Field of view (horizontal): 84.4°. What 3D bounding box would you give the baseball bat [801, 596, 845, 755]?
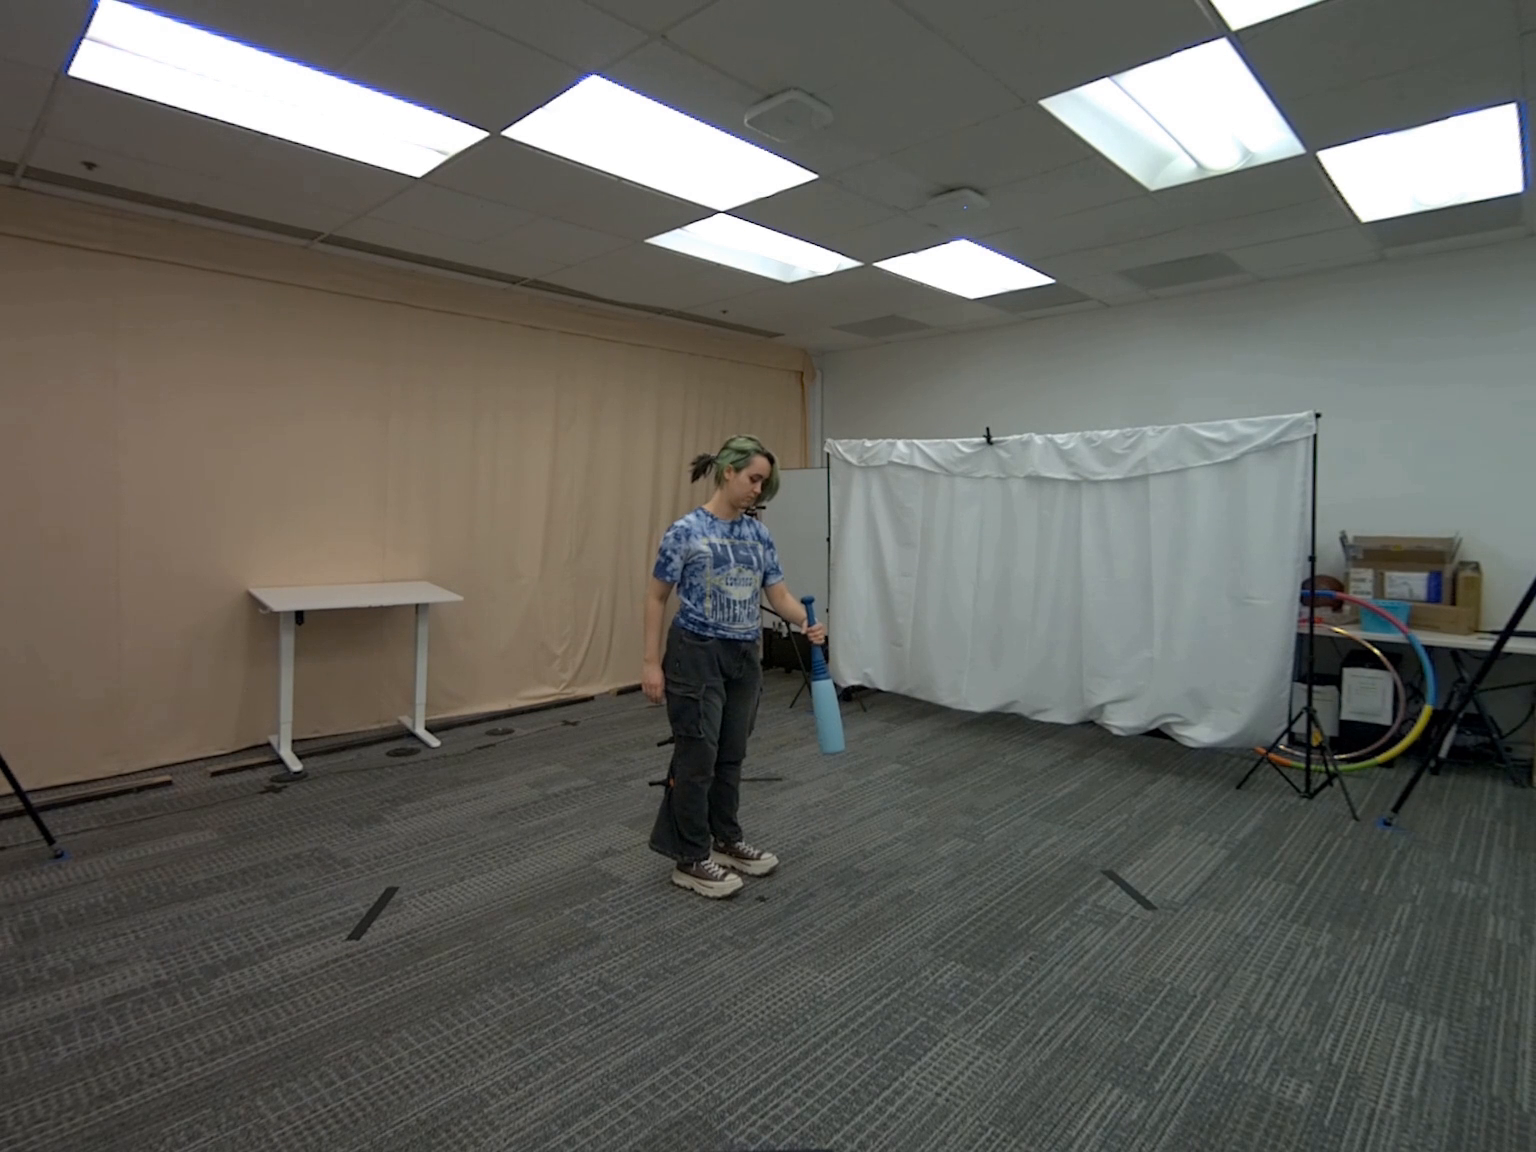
[{"bbox_3d":[0.191,0.342,2.908,0.089,0.547,0.088,-11,-9,-3],"label":"baseball bat"}]
